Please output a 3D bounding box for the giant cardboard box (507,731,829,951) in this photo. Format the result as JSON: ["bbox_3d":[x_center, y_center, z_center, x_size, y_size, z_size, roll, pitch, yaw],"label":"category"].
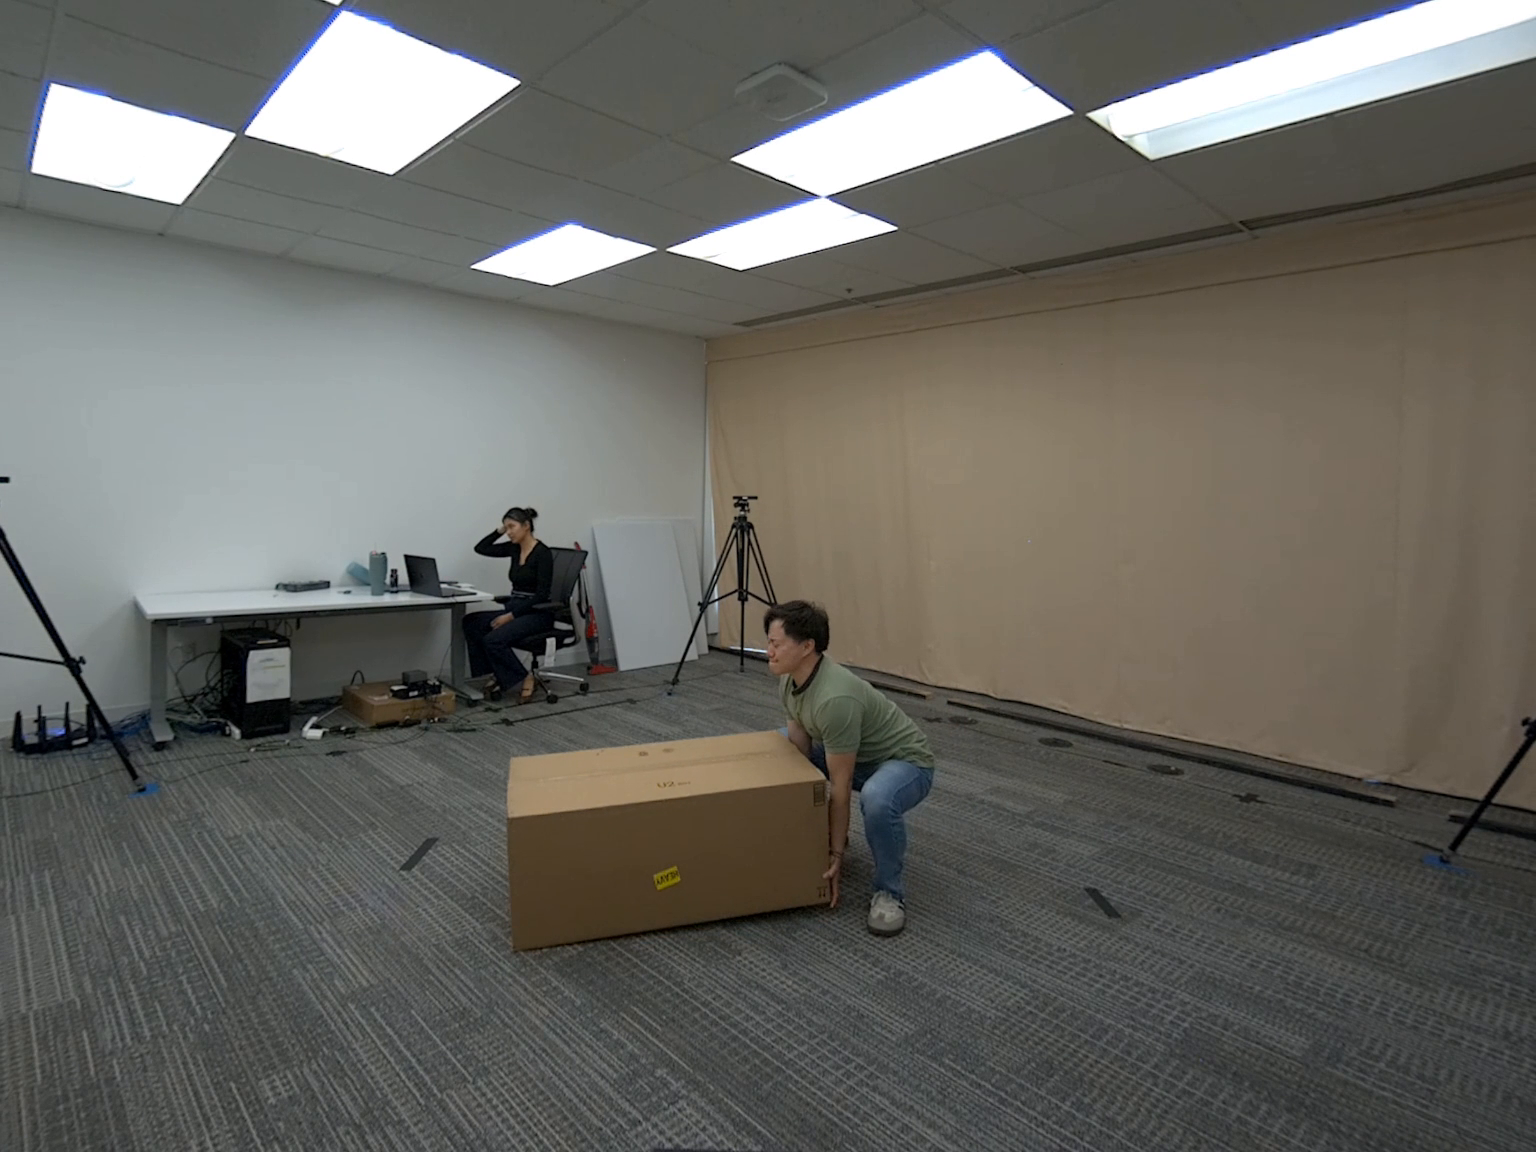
[{"bbox_3d":[-0.373,0.871,2.927,1.015,0.424,0.586,-3,6,-15],"label":"giant cardboard box"}]
